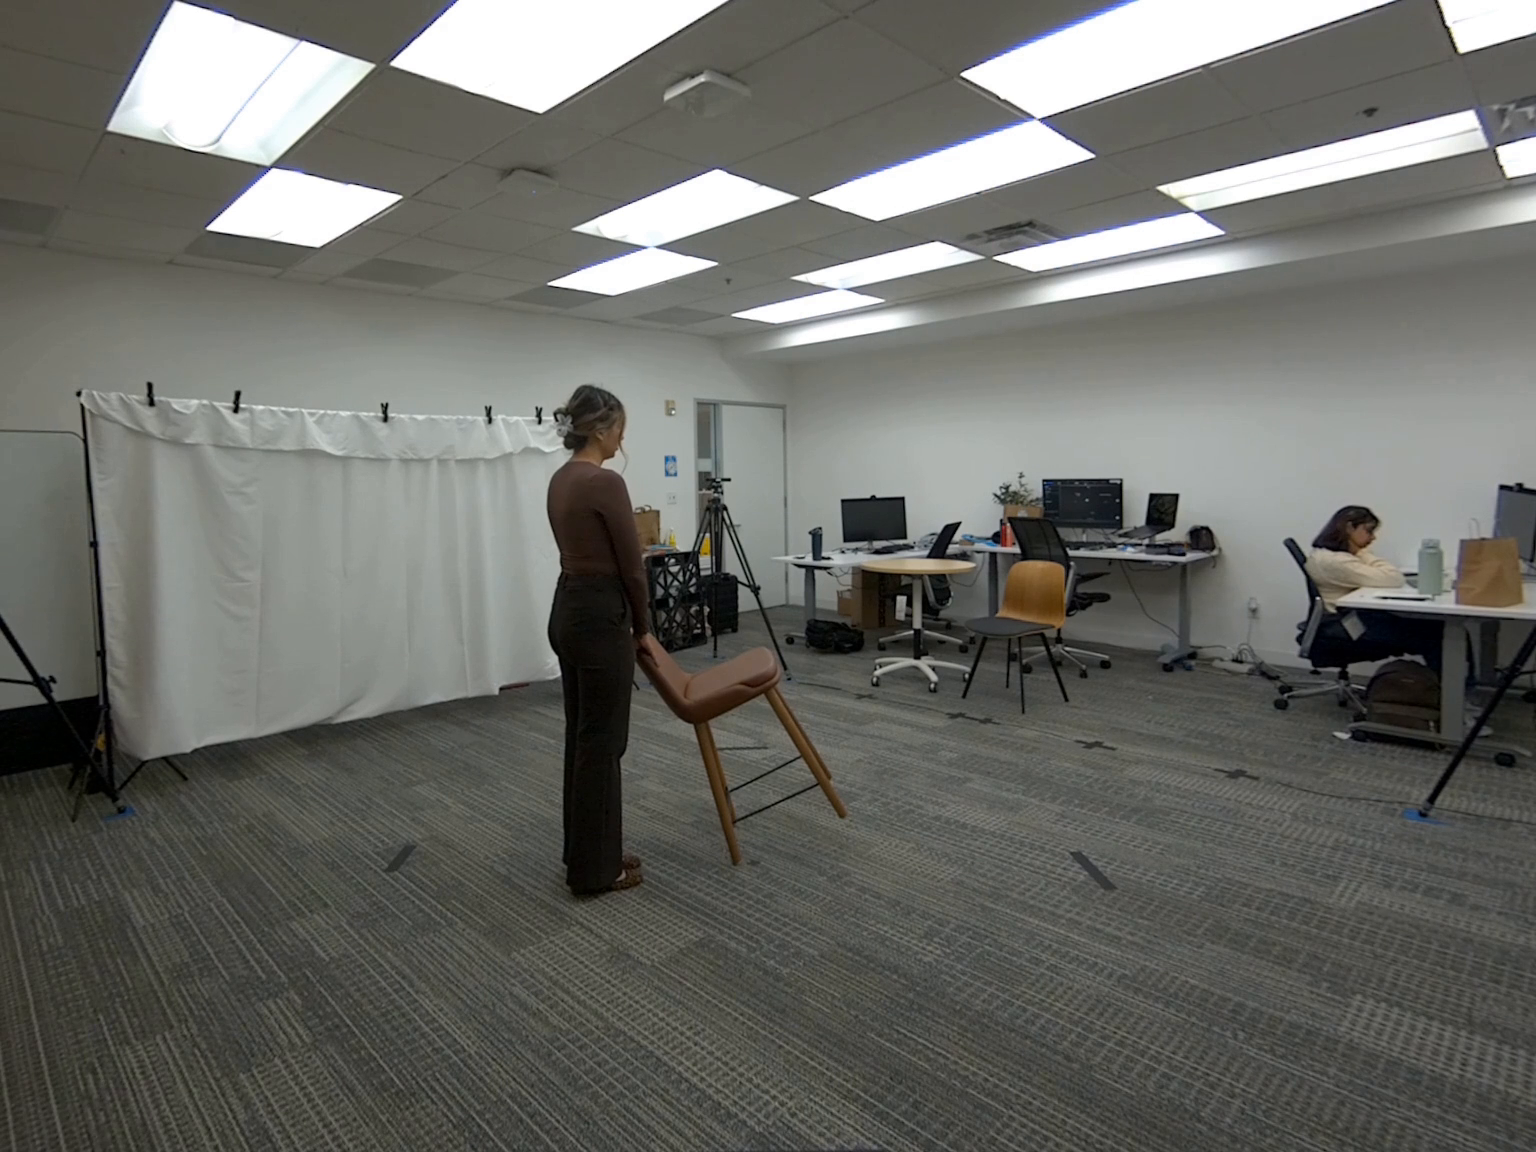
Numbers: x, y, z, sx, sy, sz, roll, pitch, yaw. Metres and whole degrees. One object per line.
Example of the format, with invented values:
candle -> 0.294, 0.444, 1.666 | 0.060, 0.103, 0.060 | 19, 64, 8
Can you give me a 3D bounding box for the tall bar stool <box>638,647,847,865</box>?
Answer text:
tall bar stool -> -0.121, 0.545, 3.246 | 0.468, 0.885, 0.459 | -26, 4, 0
